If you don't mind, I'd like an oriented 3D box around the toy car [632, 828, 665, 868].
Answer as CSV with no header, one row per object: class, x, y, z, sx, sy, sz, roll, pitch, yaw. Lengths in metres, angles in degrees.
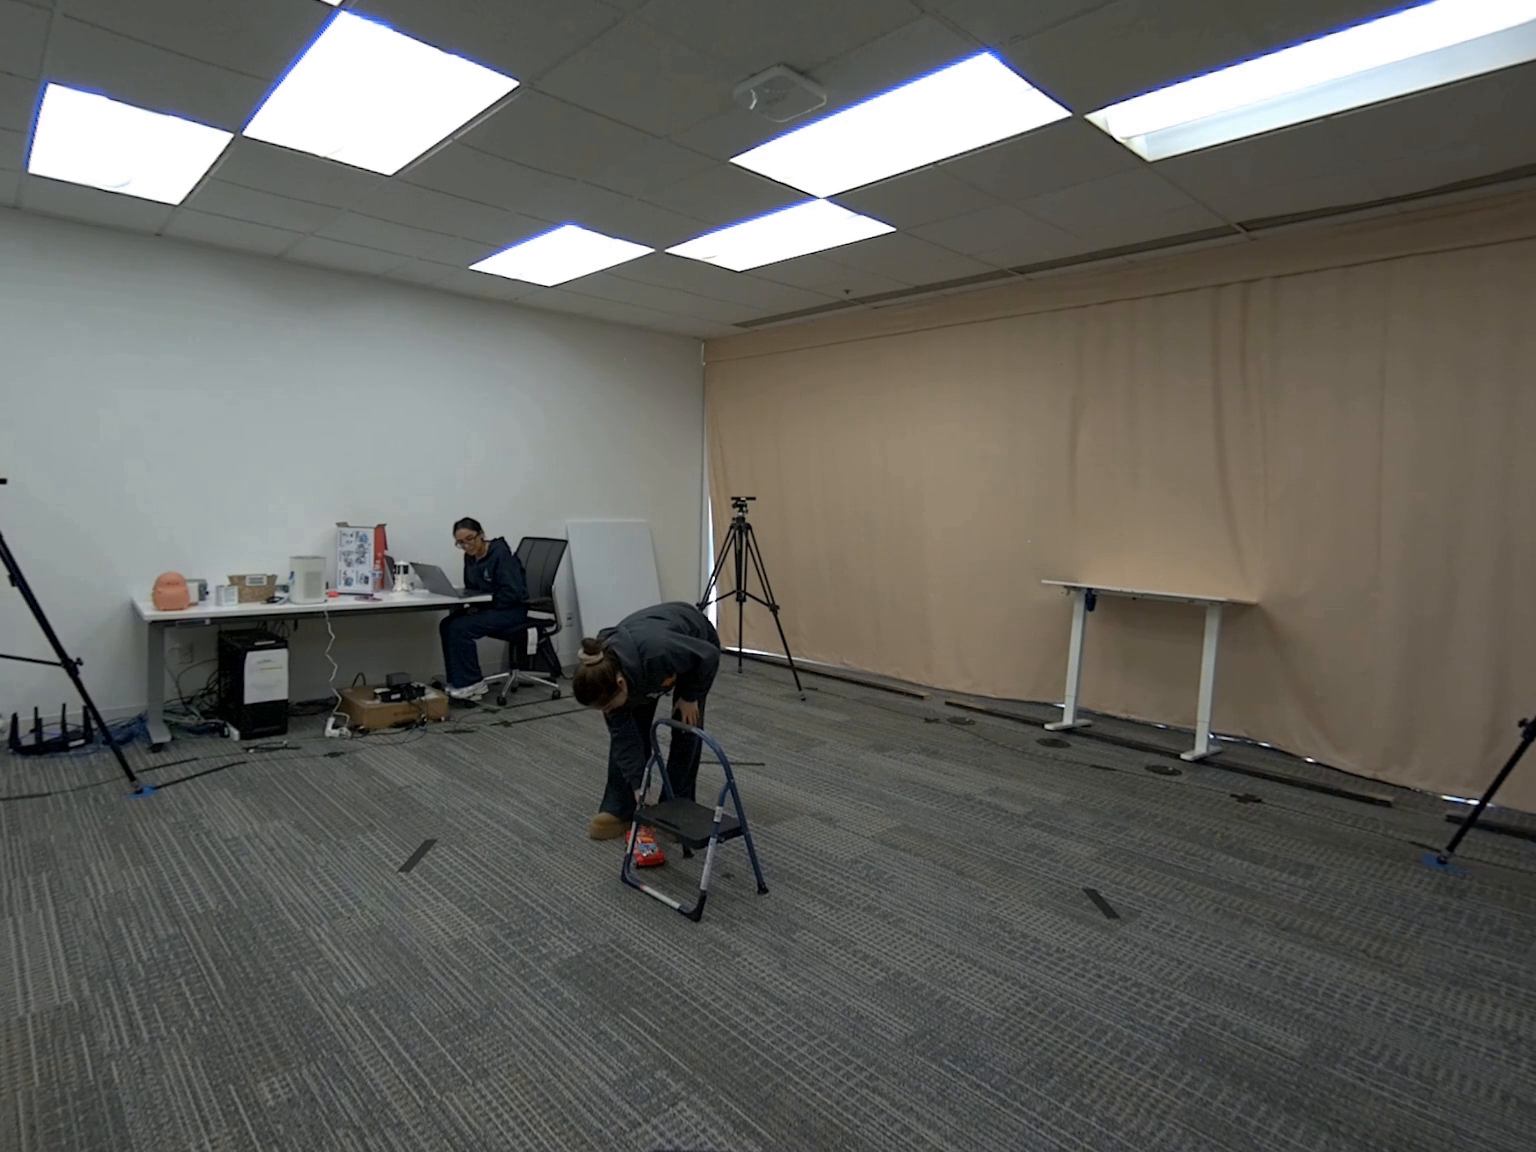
toy car,-0.498,1.046,3.275,0.128,0.082,0.261,-1,17,-20
